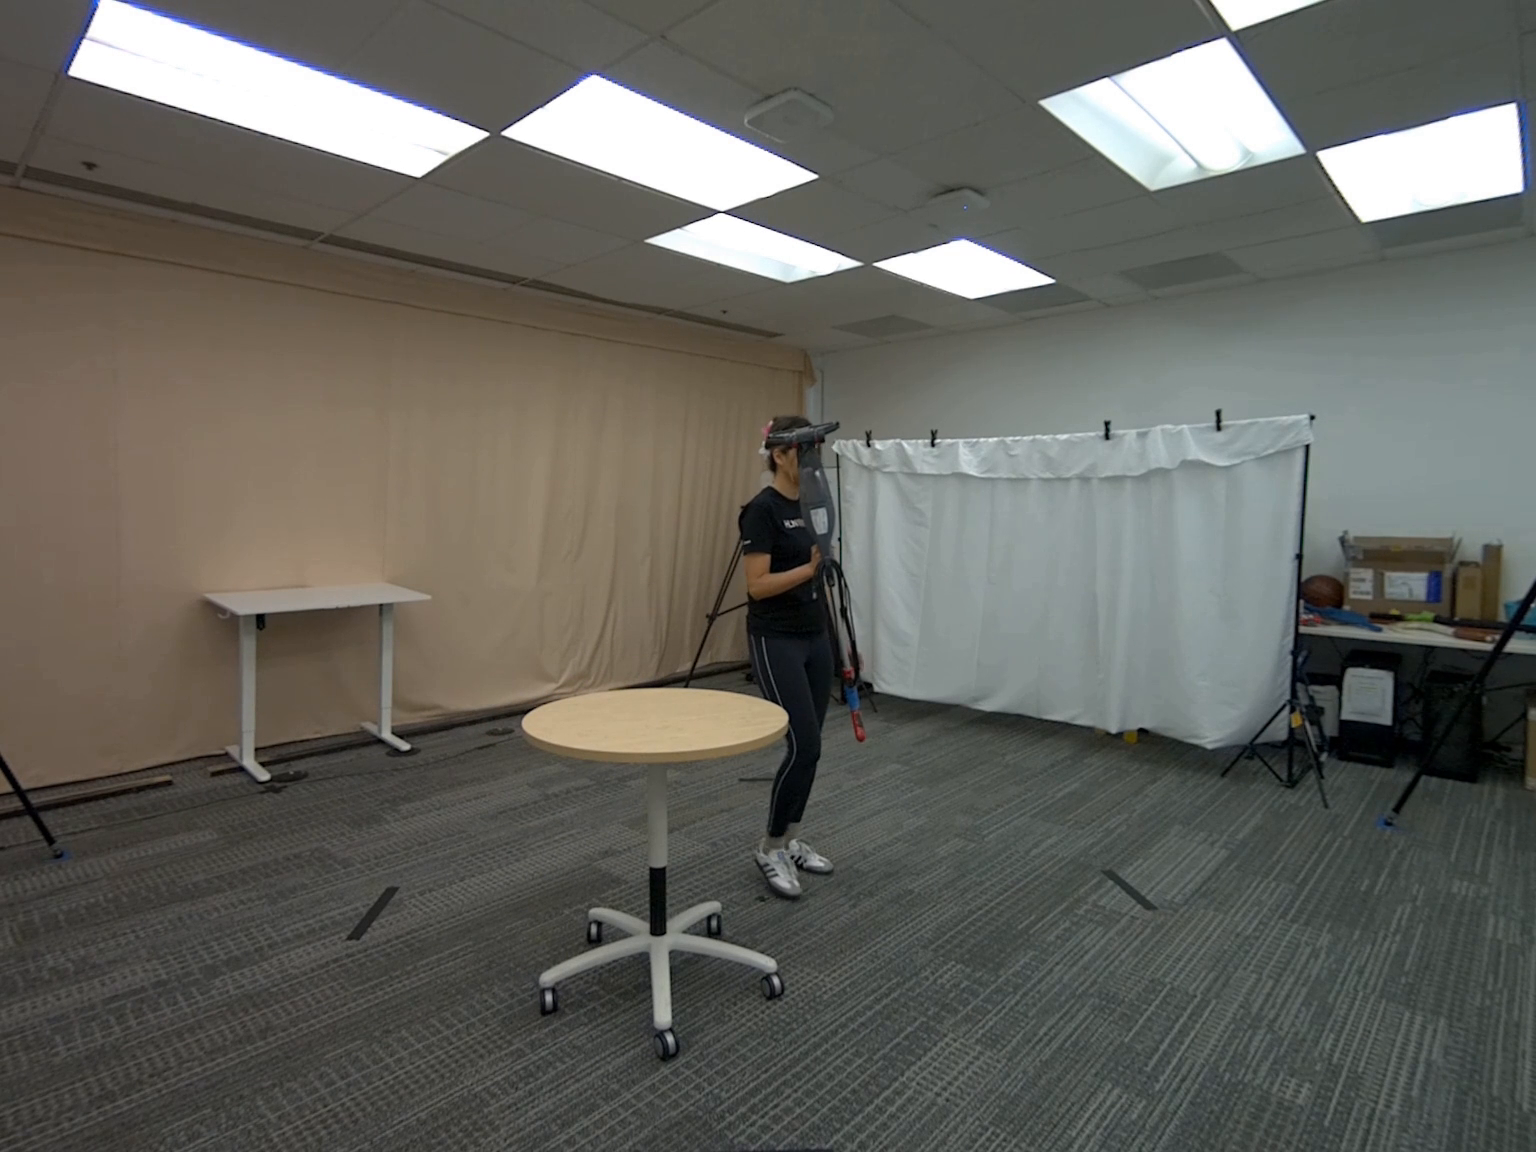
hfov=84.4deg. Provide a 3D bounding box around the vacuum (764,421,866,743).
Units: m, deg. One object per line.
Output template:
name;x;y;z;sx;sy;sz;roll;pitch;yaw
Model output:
vacuum;0.220;0.024;2.807;0.255;1.052;0.142;-11;-3;9
